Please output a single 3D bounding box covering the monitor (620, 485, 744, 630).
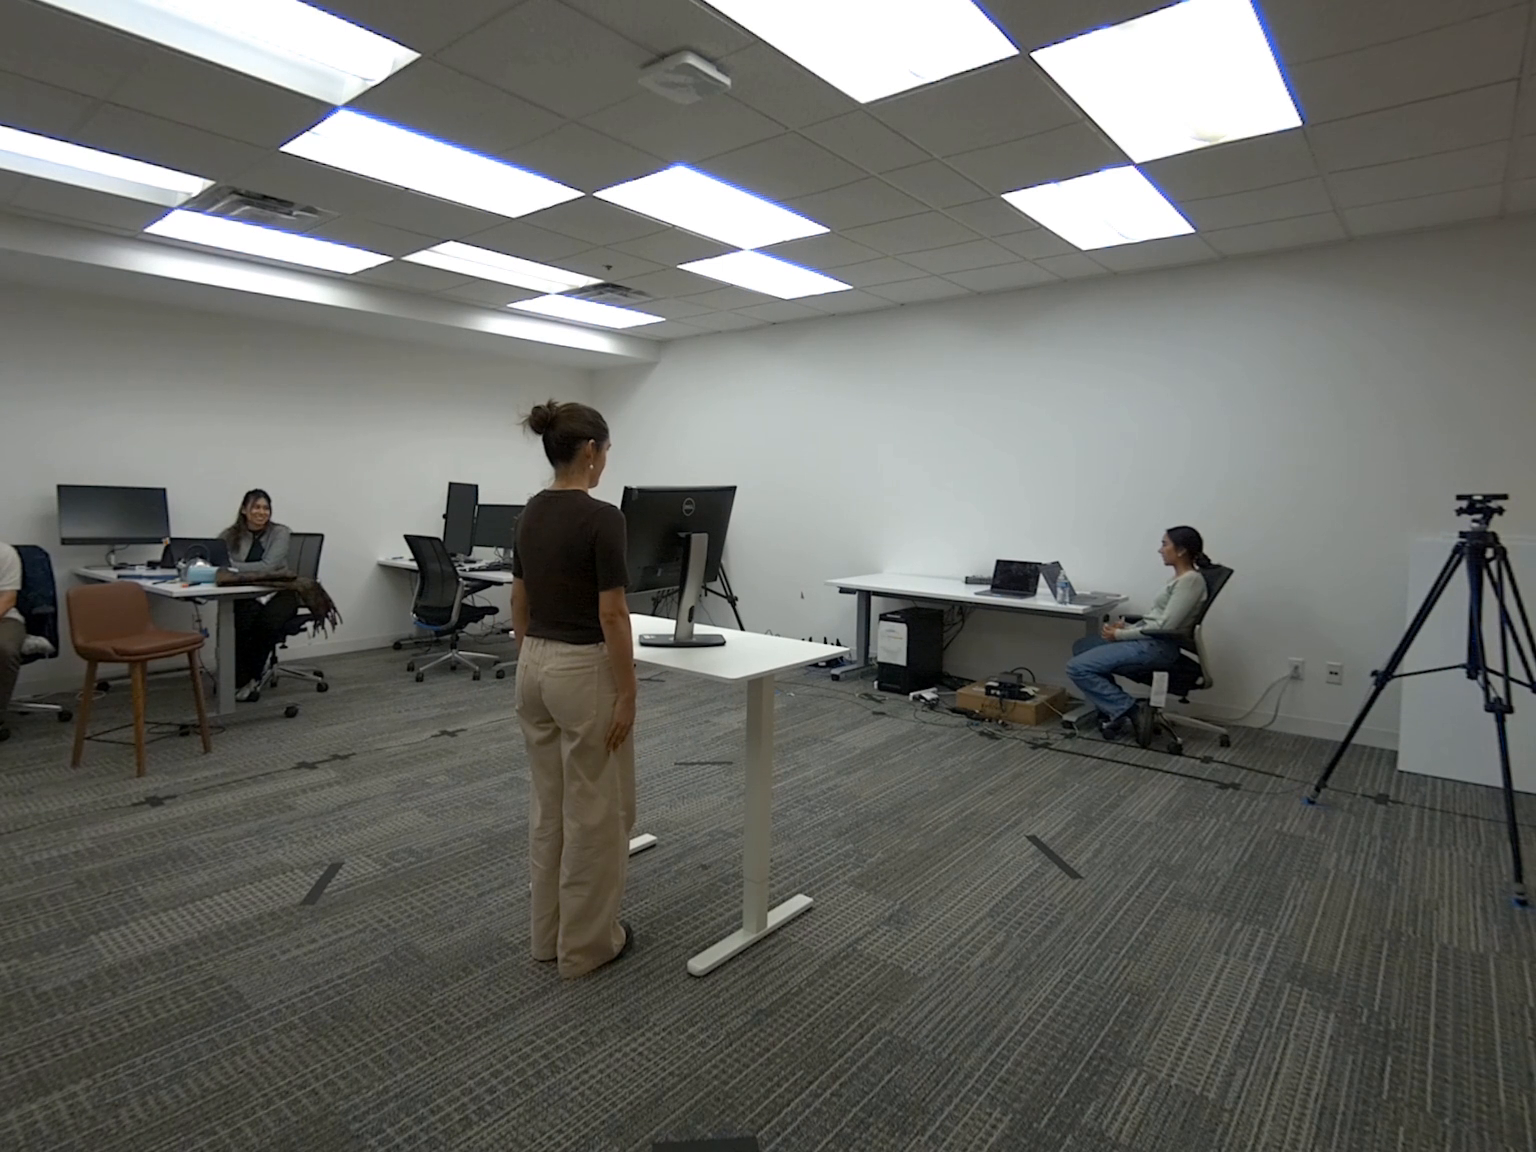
[{"bbox_3d":[-0.297,-0.034,2.748,0.193,0.520,0.525,2,6,32],"label":"monitor"}]
